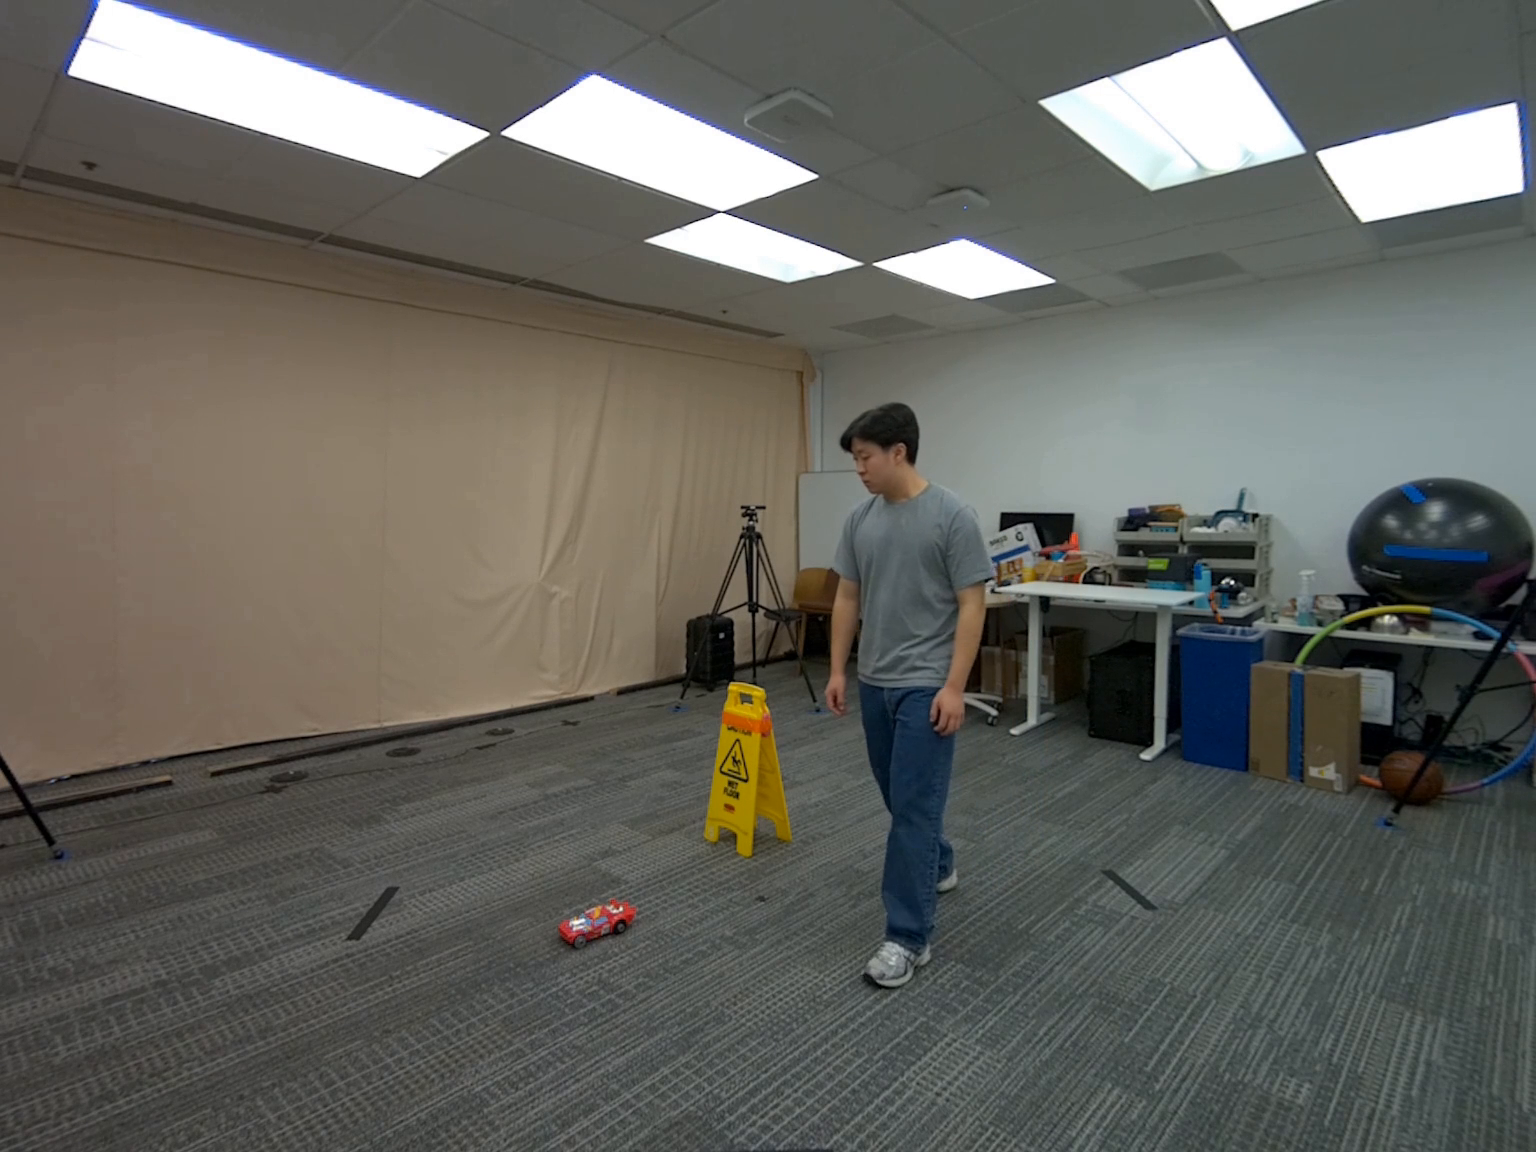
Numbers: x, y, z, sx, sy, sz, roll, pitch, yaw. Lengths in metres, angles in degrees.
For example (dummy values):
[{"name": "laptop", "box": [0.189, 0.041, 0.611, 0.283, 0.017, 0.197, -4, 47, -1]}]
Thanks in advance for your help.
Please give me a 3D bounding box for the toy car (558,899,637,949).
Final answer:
[{"name": "toy car", "box": [-0.553, 1.137, 2.751, 0.248, 0.082, 0.134, -18, 13, -35]}]
